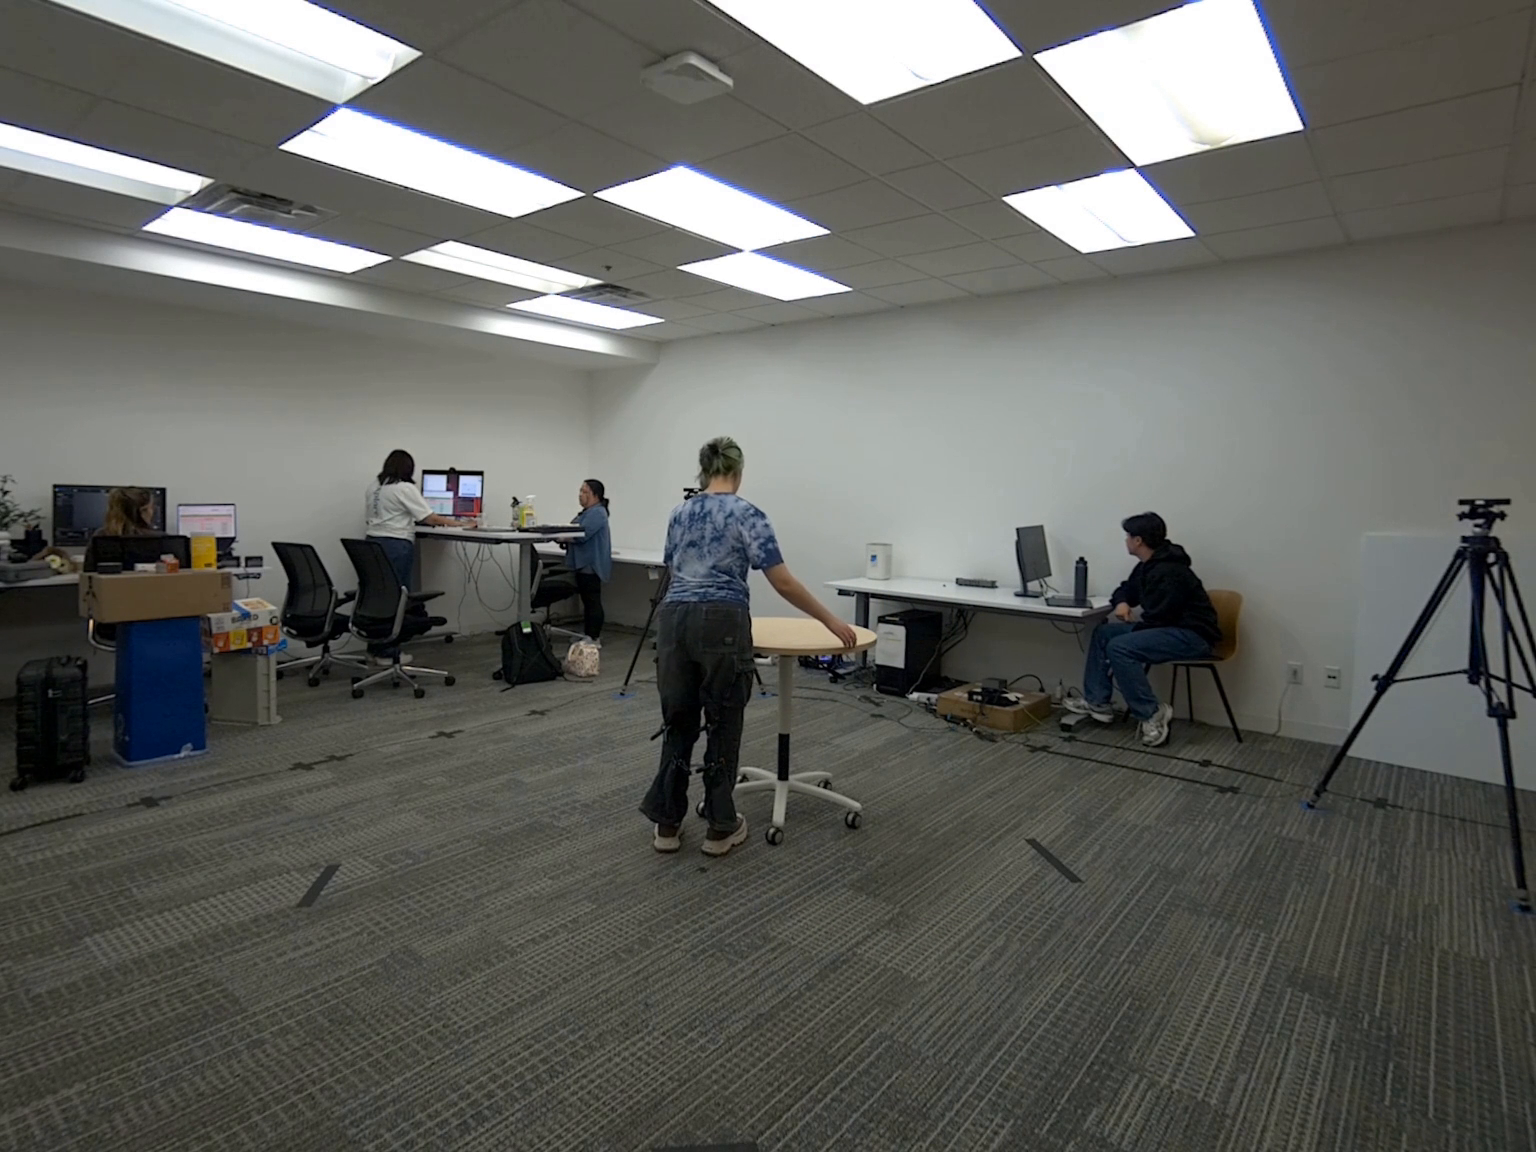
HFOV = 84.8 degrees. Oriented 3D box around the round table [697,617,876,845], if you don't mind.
[{"bbox_3d":[0.060,0.630,3.682,0.763,0.792,0.767,1,4,-2],"label":"round table"}]
